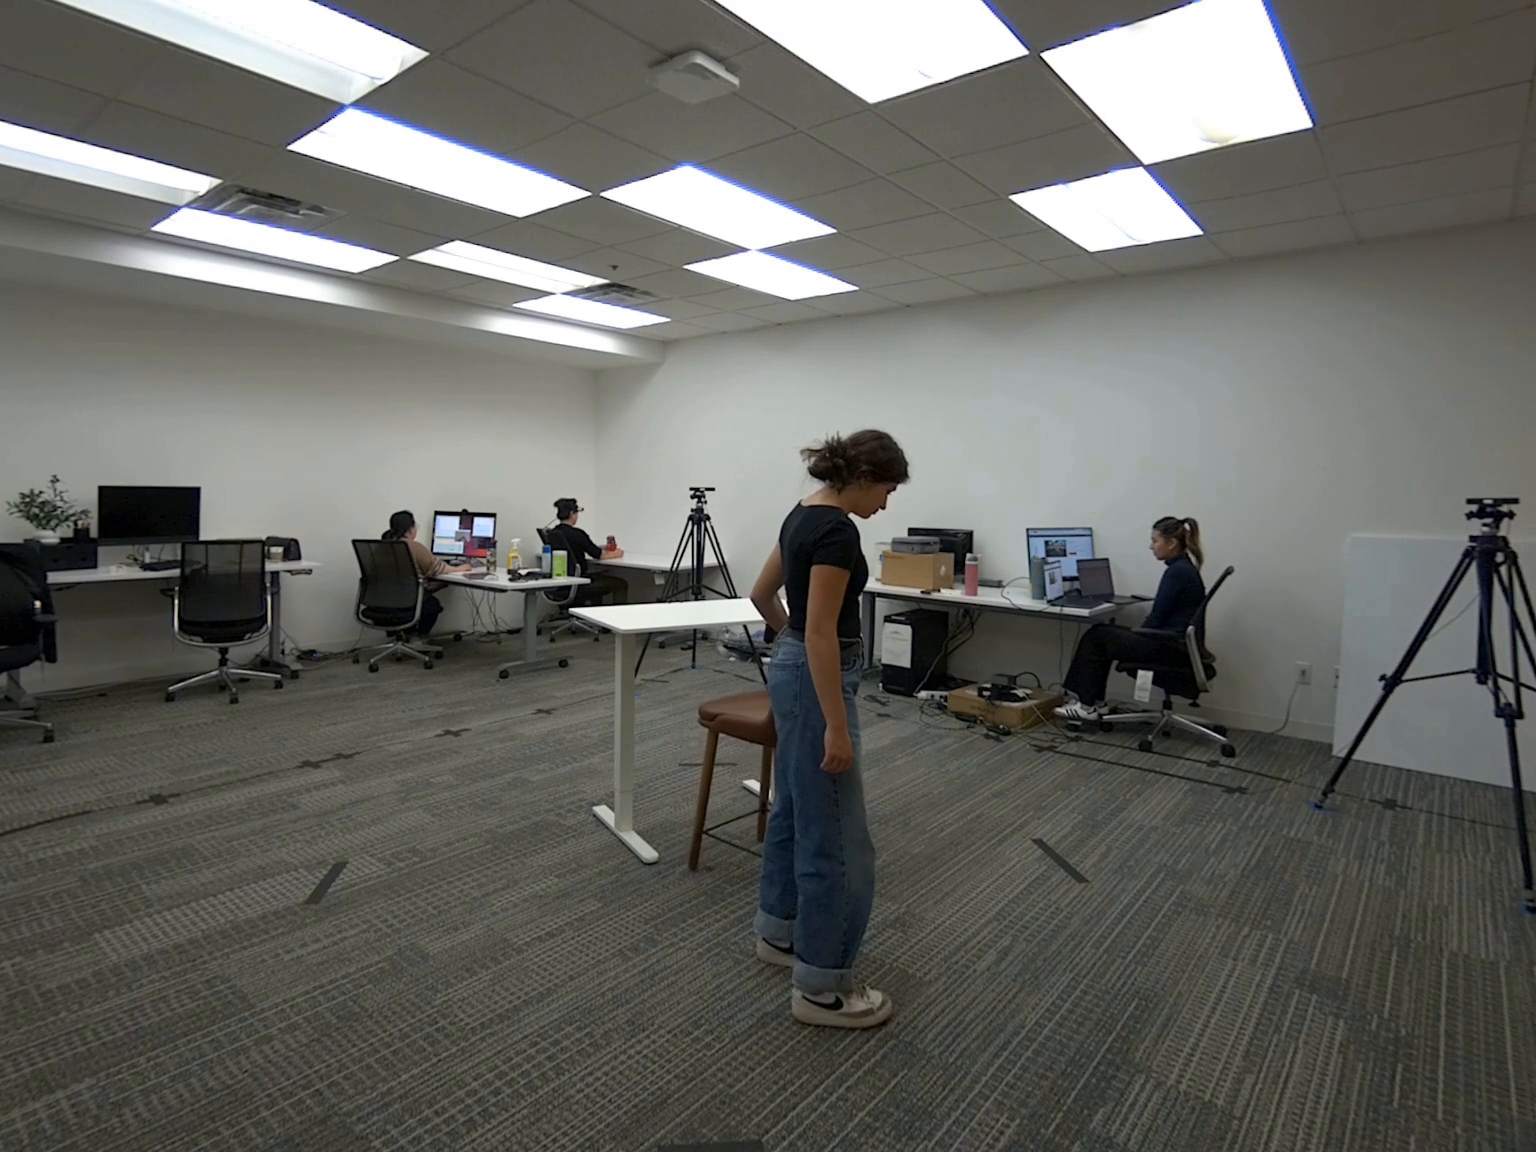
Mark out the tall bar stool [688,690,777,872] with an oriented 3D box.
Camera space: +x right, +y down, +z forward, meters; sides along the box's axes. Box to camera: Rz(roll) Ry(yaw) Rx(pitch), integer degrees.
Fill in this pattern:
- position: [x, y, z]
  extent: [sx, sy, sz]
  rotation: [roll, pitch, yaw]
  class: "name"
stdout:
- position: [0.020, 0.637, 3.051]
  extent: [0.484, 0.886, 0.442]
  rotation: [8, 6, 42]
  class: "tall bar stool"
